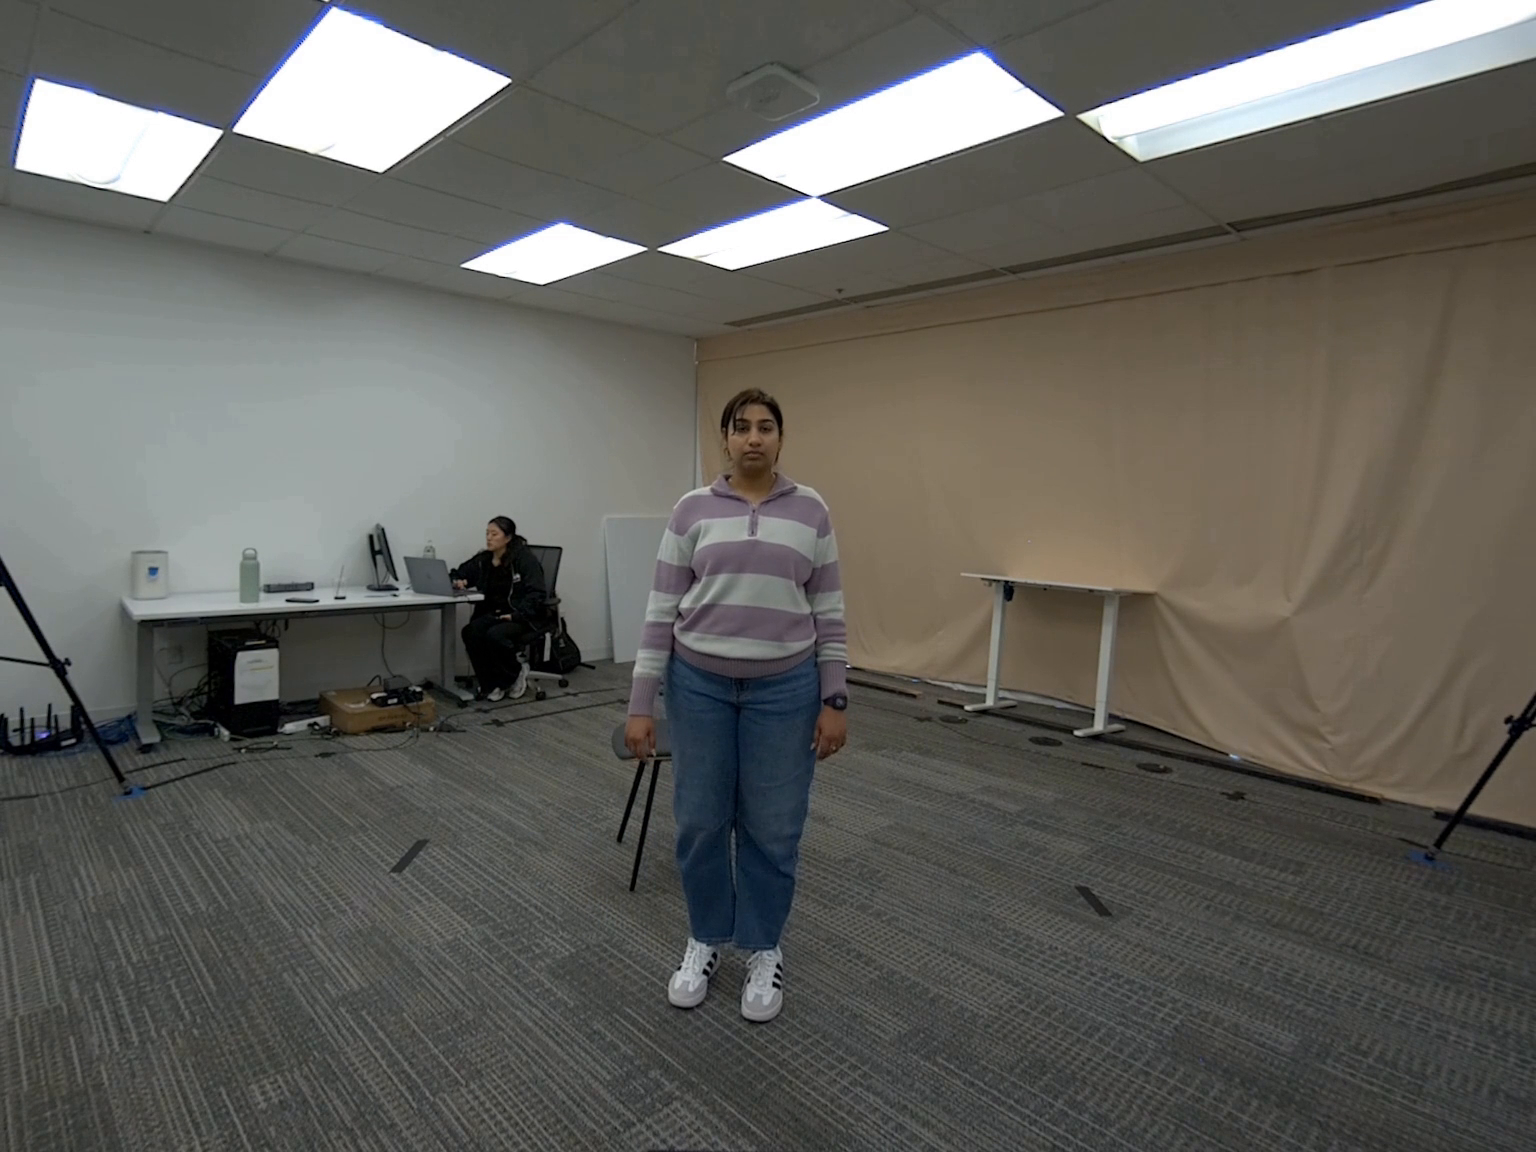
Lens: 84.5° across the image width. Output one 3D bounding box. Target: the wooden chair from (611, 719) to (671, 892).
[{"bbox_3d":[-0.328,0.668,3.188,0.517,0.876,0.485,5,3,-15],"label":"wooden chair"}]
